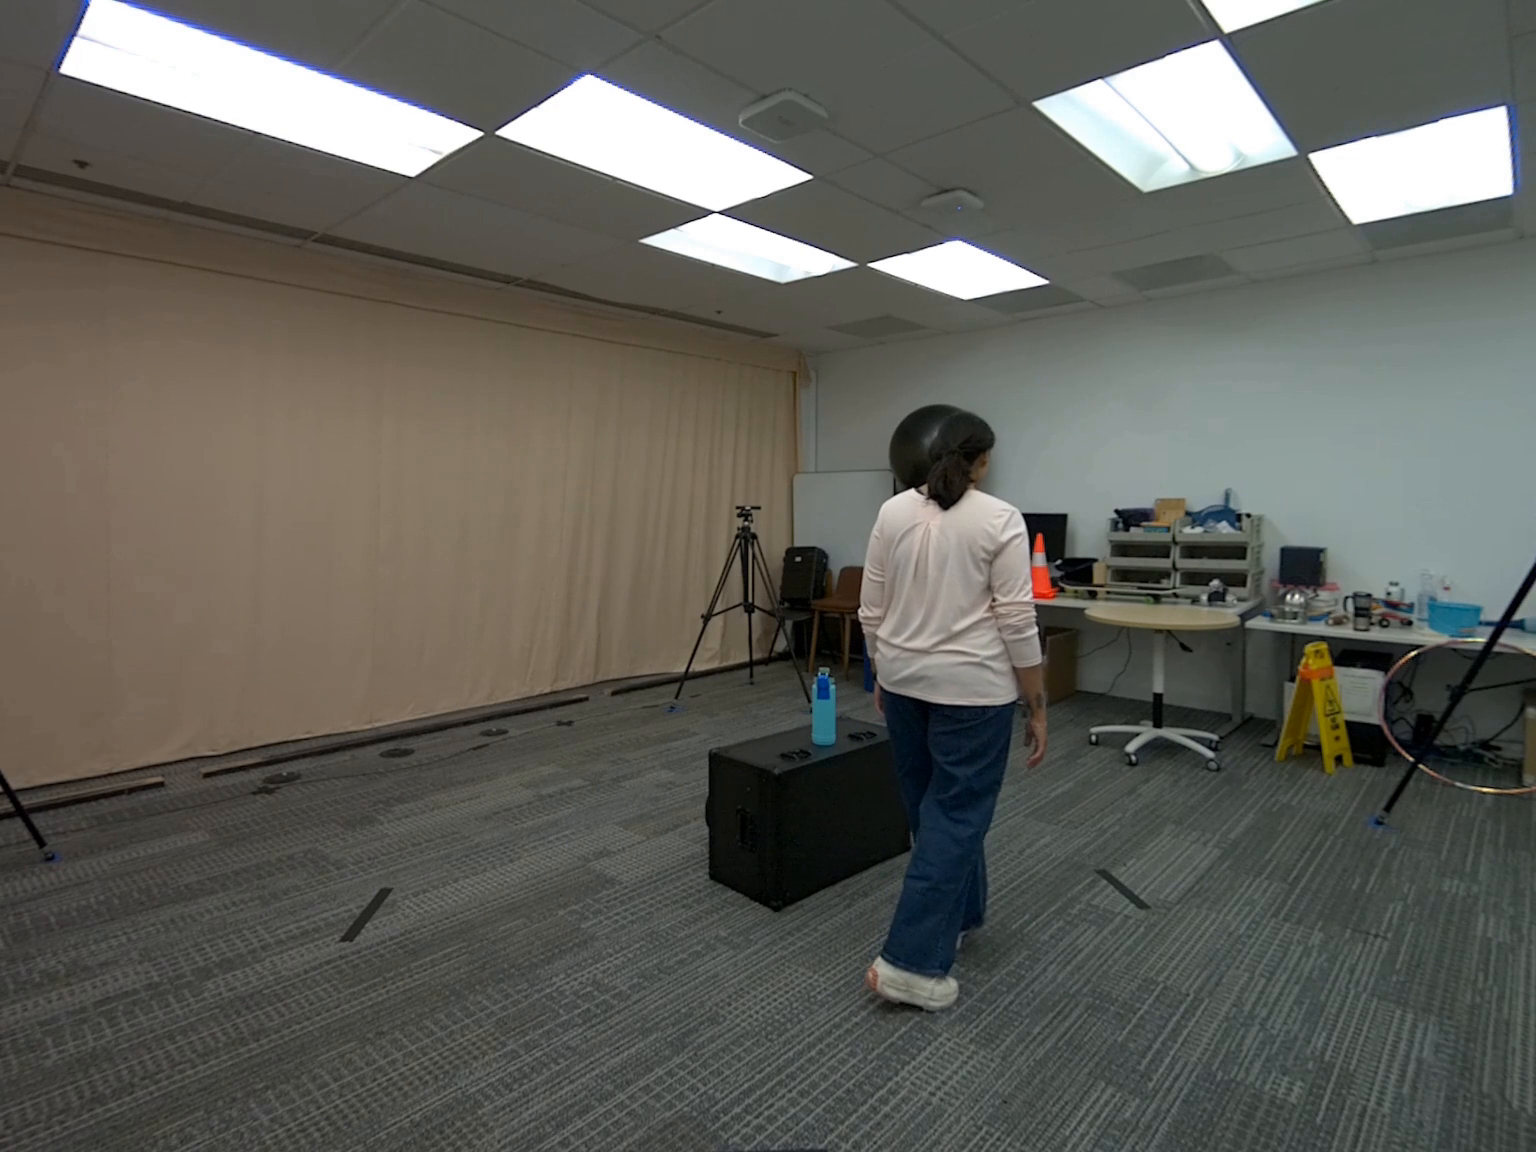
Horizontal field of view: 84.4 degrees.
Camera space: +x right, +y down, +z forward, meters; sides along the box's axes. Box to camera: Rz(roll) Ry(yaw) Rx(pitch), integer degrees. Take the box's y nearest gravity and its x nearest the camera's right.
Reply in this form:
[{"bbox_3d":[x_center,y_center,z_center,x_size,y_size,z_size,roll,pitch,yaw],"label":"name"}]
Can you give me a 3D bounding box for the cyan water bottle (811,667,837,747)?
[{"bbox_3d":[0.222,0.501,3.239,0.092,0.283,0.092,0,3,-2],"label":"cyan water bottle"}]
